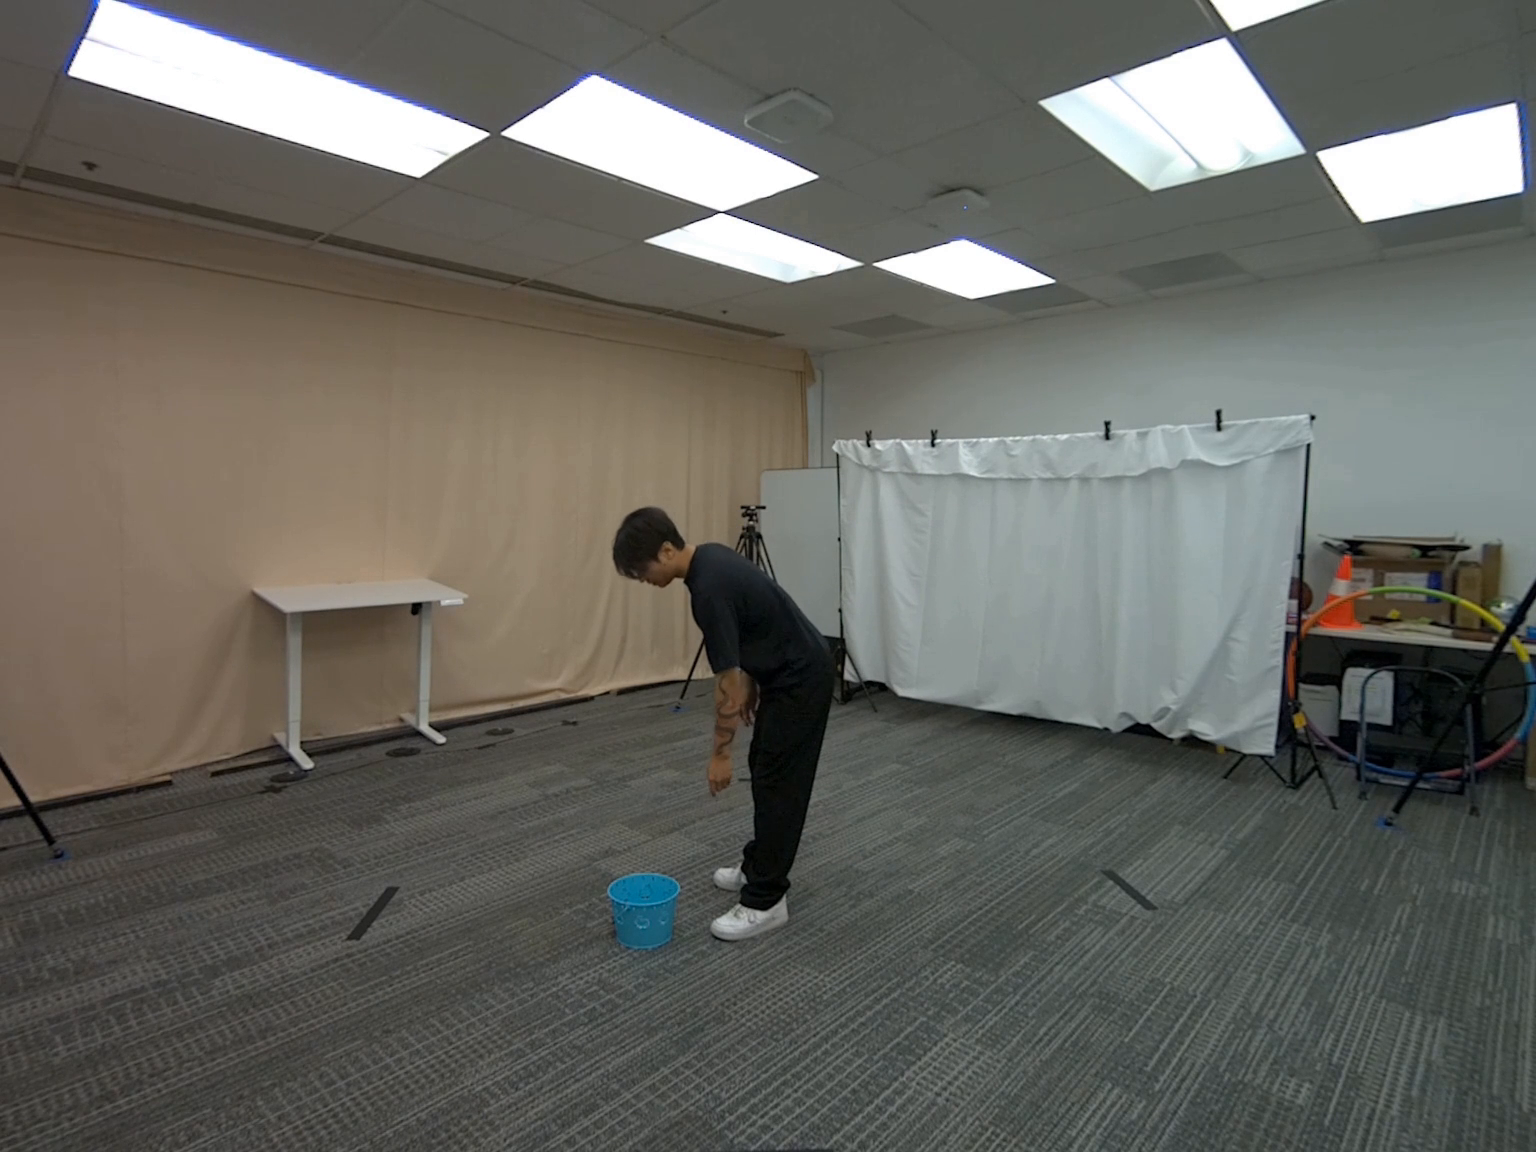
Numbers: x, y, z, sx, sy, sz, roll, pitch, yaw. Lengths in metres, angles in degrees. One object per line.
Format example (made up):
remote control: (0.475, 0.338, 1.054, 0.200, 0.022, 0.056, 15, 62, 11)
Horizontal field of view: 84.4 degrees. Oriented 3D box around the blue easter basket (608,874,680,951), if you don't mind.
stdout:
blue easter basket: (-0.400, 1.092, 2.741, 0.243, 0.155, 0.244, 0, 4, -2)
